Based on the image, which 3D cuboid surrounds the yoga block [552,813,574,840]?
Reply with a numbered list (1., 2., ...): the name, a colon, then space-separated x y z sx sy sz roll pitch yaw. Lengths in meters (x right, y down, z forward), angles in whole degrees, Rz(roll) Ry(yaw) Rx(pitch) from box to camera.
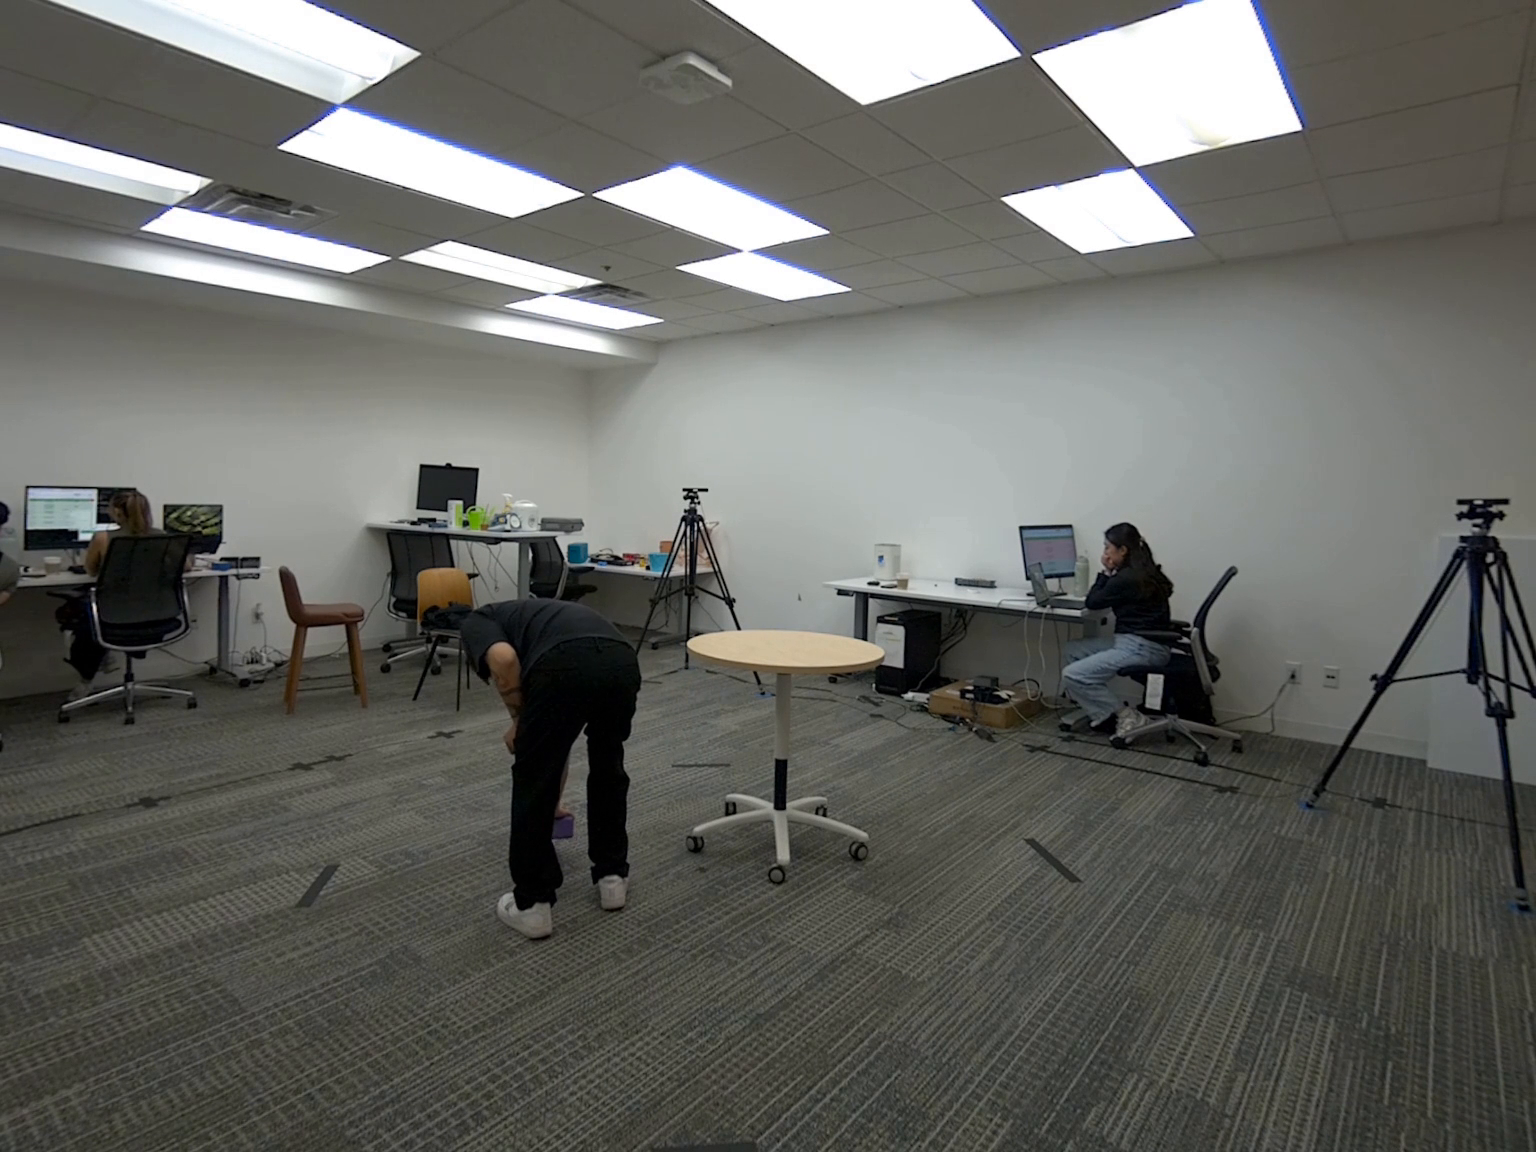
1. yoga block: -0.826 0.929 3.172 0.147 0.077 0.230 0 -8 -15
